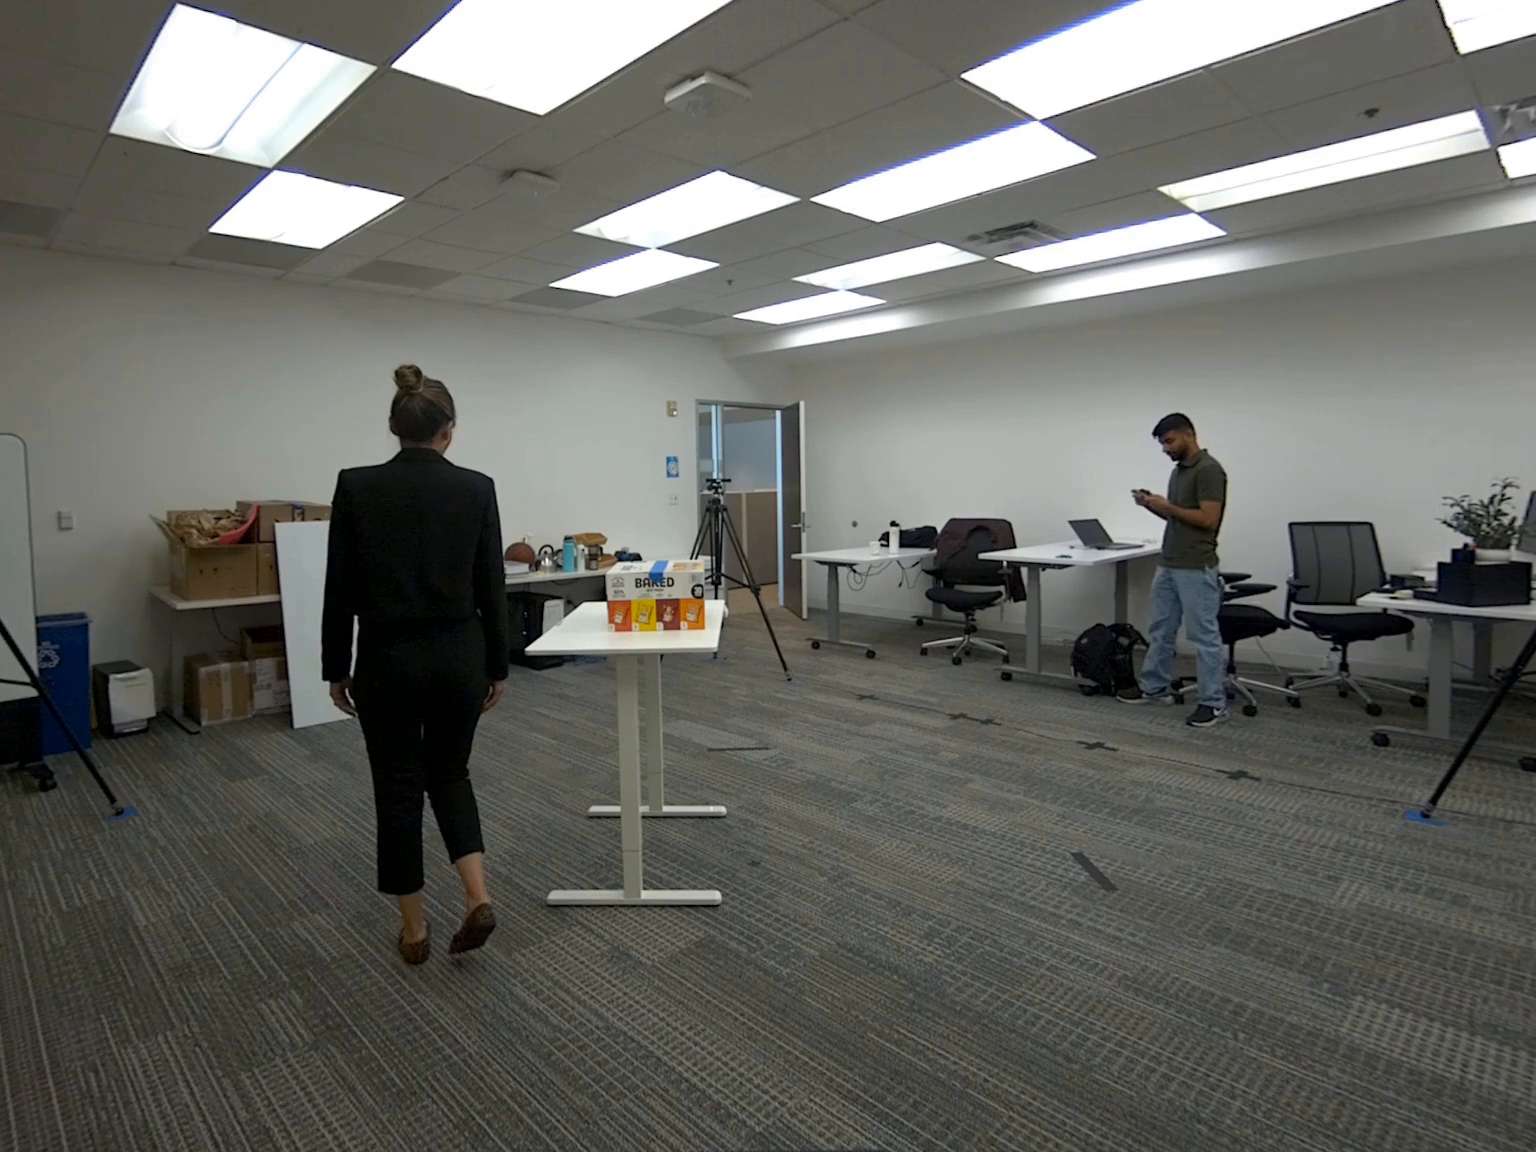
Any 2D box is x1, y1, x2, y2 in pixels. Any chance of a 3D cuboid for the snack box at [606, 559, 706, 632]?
[{"bbox_3d":[-0.397,0.064,3.138,0.340,0.205,0.408,-2,6,-2],"label":"snack box"}]
